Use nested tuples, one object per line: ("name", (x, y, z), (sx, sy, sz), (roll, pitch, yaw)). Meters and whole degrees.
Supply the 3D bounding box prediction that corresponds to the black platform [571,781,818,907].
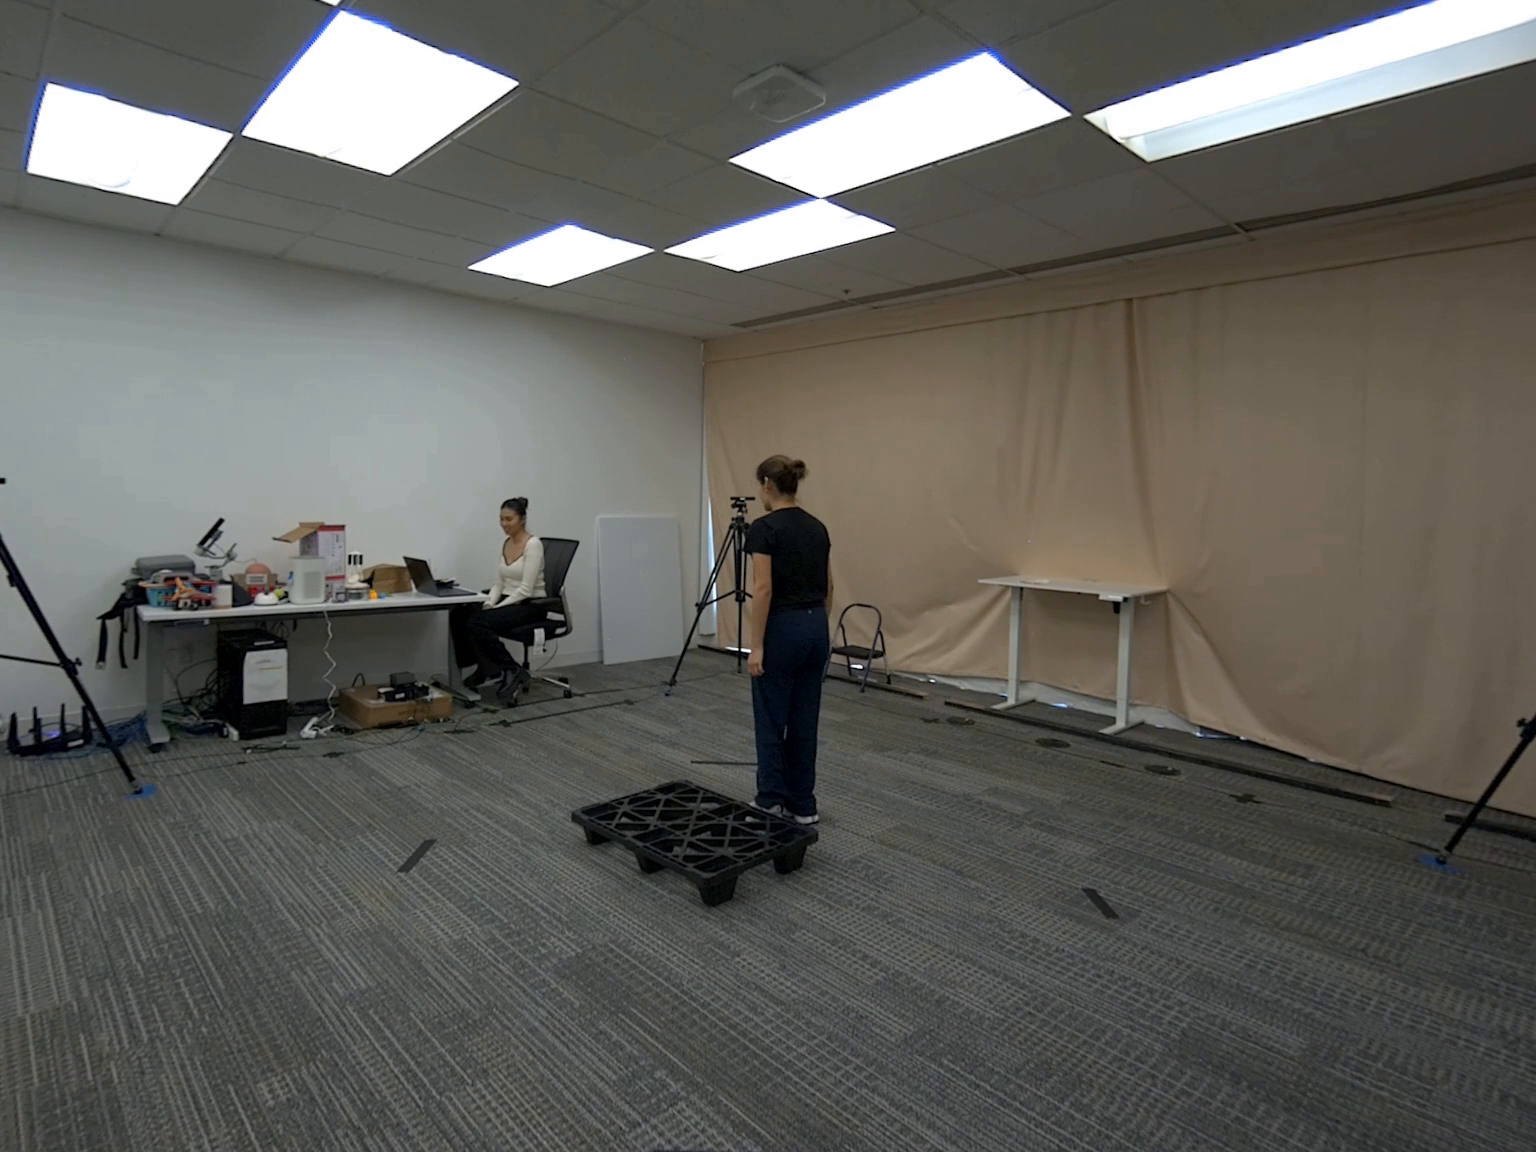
("black platform", (-0.302, 1.023, 3.269), (0.826, 0.143, 0.591), (6, 7, 43))
